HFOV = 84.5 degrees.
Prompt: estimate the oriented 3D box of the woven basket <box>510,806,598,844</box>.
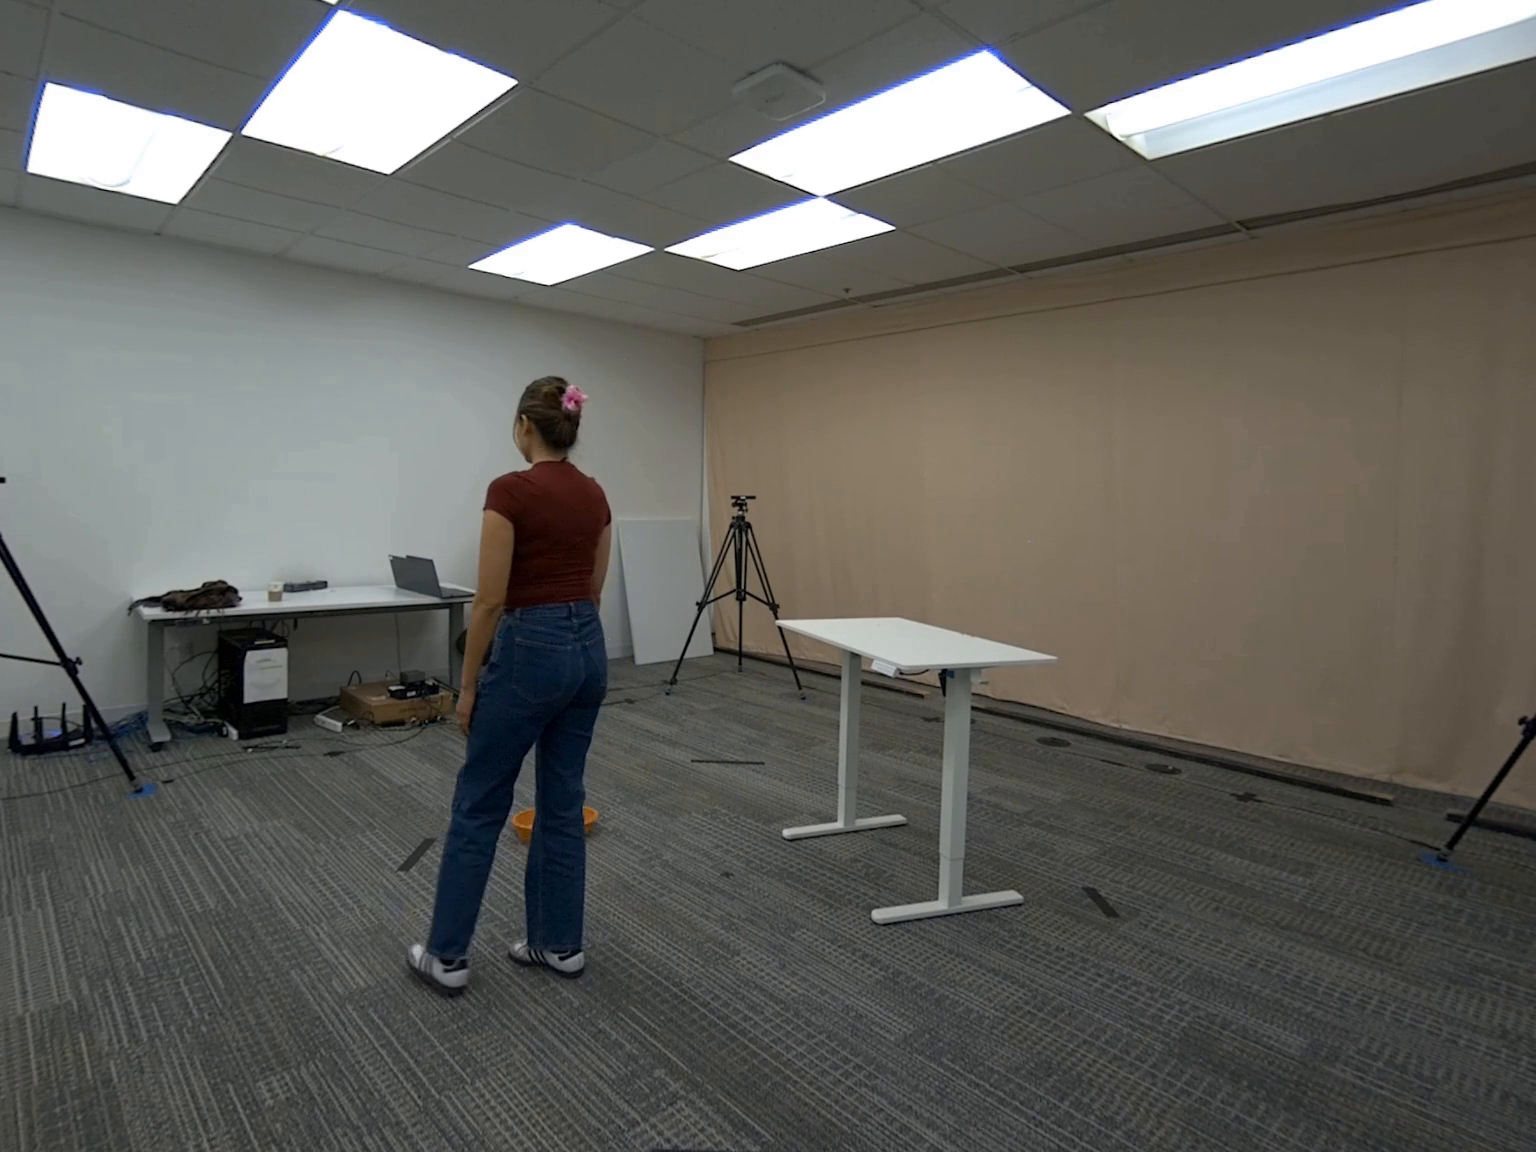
[{"bbox_3d":[-0.879,1.021,3.445,0.346,0.073,0.256,0,5,-16],"label":"woven basket"}]
